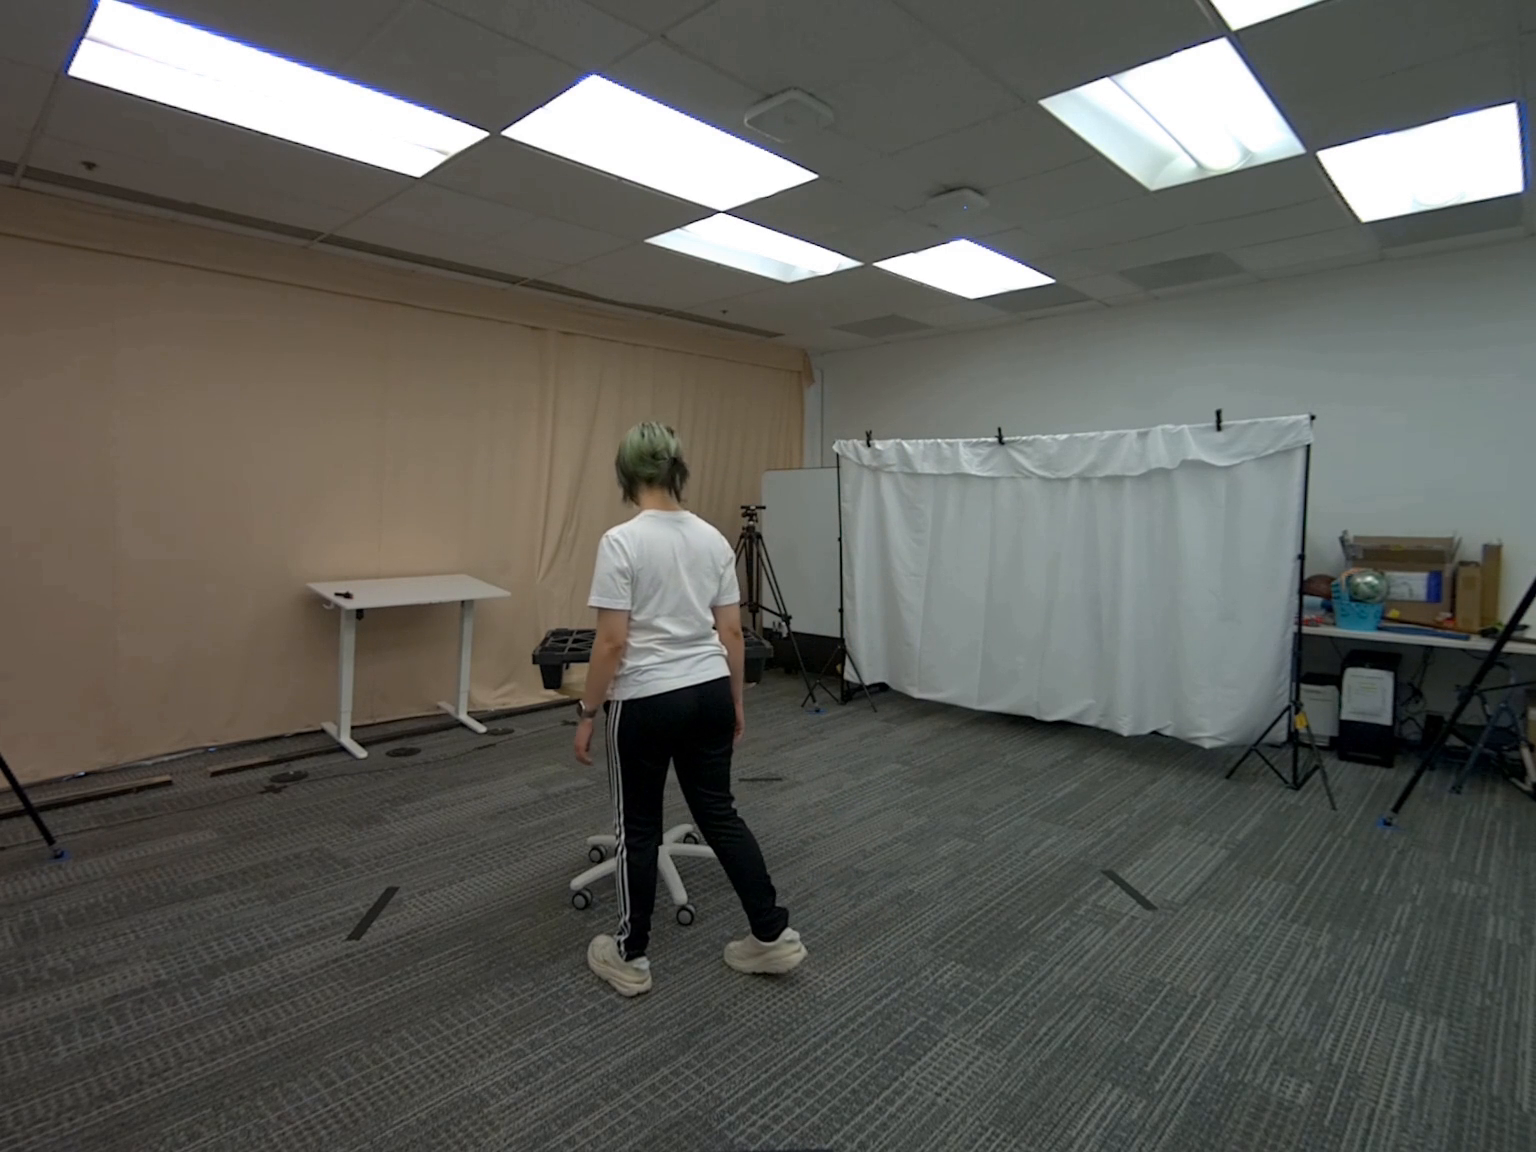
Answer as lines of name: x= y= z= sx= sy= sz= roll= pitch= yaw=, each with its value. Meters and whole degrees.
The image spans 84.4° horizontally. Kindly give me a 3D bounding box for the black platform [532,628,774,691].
black platform: x=-0.425 y=0.293 z=3.072 sx=0.800 sy=0.143 sz=0.610 roll=-1 pitch=4 yaw=-7
